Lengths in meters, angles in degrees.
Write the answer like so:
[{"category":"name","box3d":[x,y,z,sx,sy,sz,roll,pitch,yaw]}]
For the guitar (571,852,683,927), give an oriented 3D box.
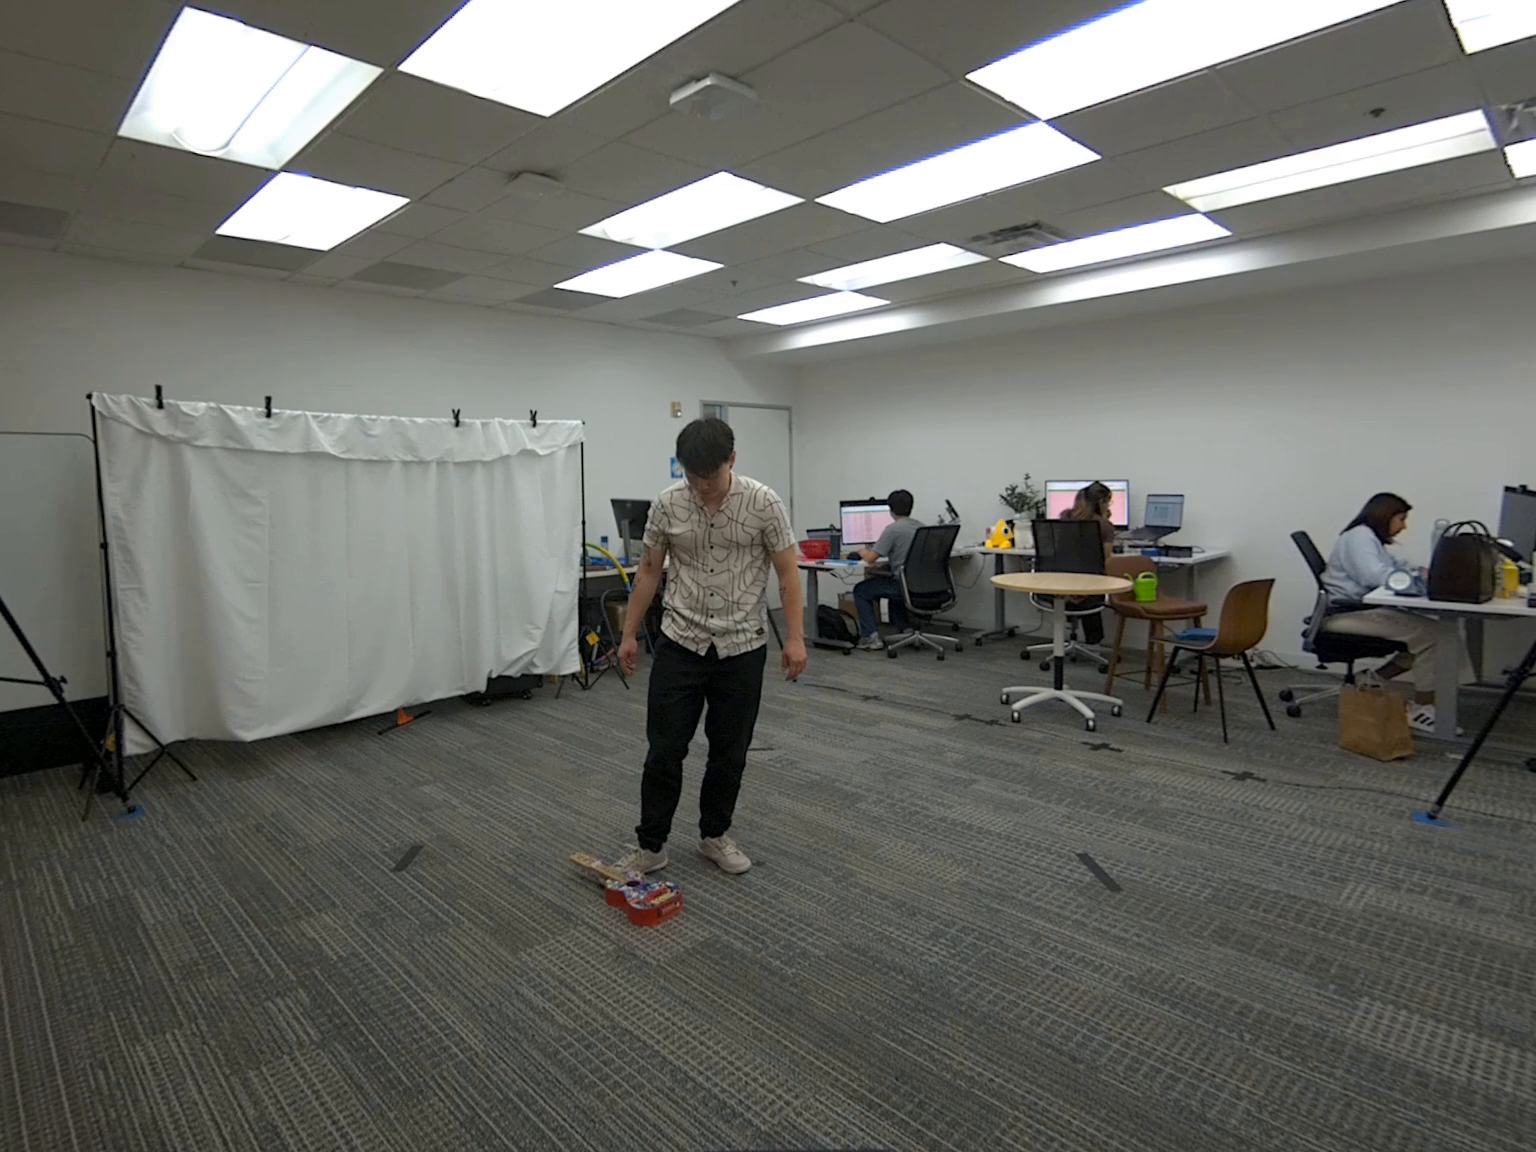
[{"category":"guitar","box3d":[-0.483,1.043,2.914,0.188,0.070,0.513,-5,8,-39]}]
